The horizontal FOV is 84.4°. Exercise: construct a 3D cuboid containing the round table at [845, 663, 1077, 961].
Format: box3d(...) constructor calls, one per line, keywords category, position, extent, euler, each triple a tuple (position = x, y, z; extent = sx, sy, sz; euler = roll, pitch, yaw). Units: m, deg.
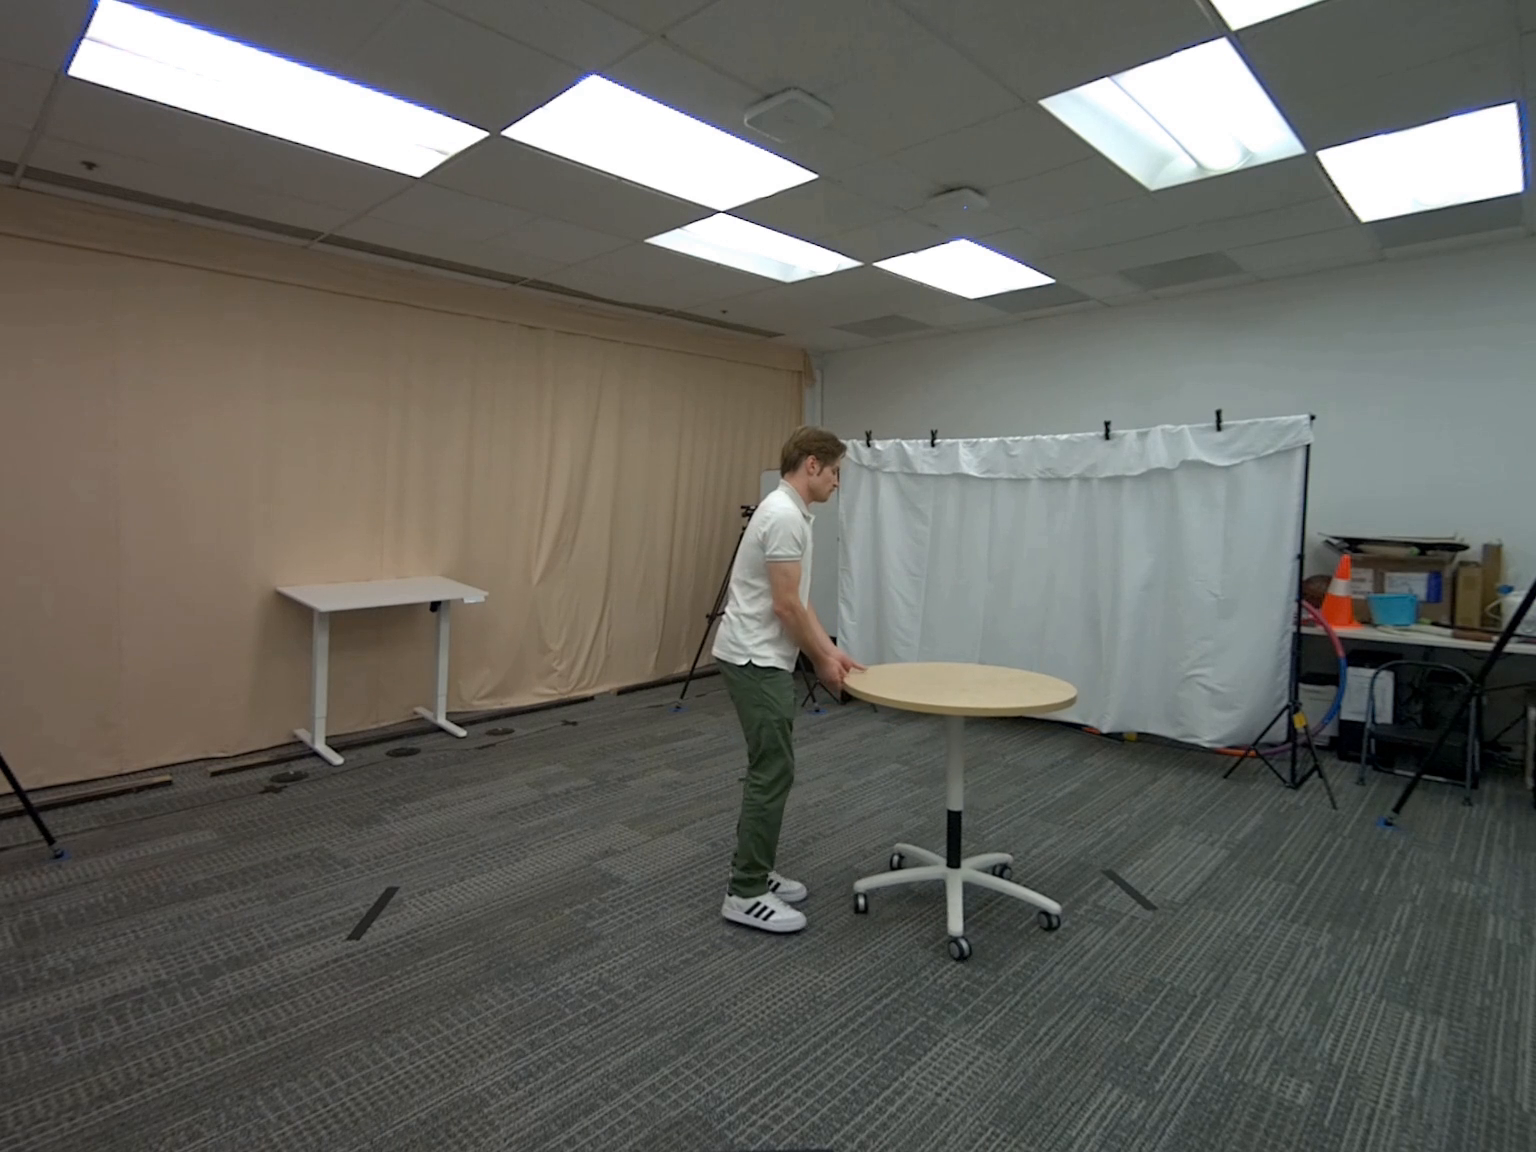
box3d(category="round table", position=(0.648, 0.761, 2.904), extent=(0.763, 0.792, 0.766), euler=(0, 3, -2))
